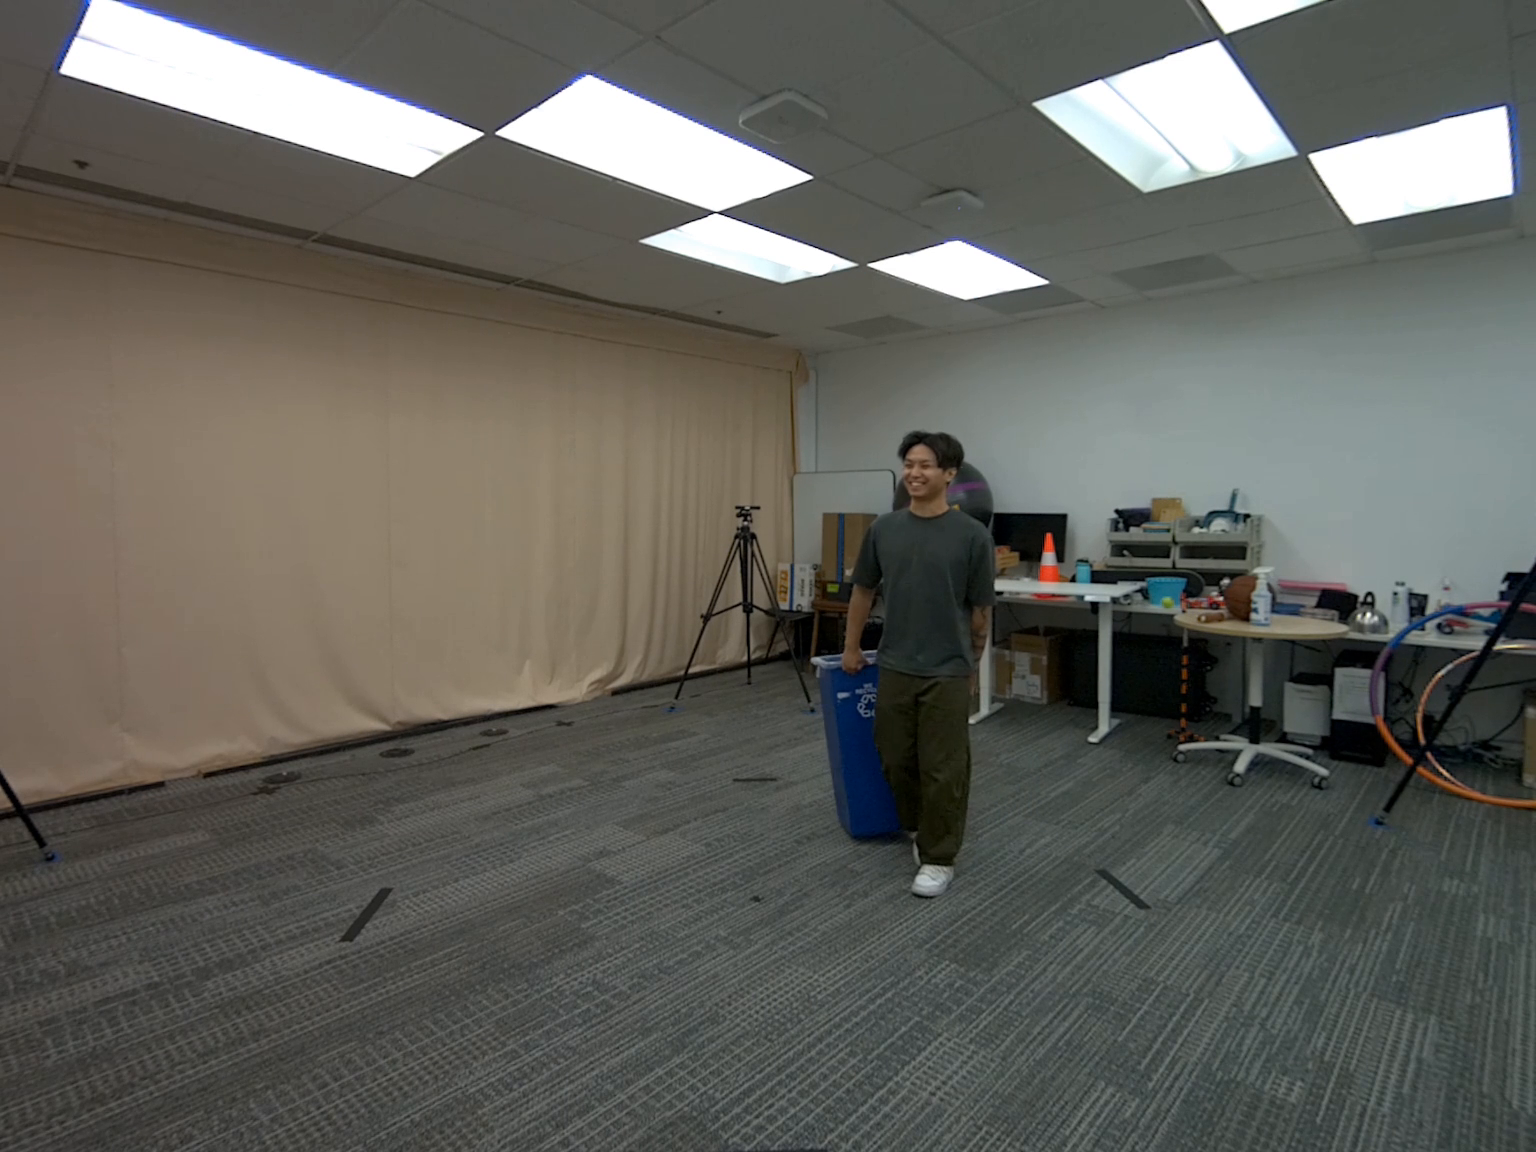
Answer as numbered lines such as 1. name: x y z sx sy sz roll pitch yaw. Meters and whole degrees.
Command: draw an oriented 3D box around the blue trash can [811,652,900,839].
1. blue trash can: 0.442 0.704 3.629 0.372 0.715 0.379 -5 -2 -6
